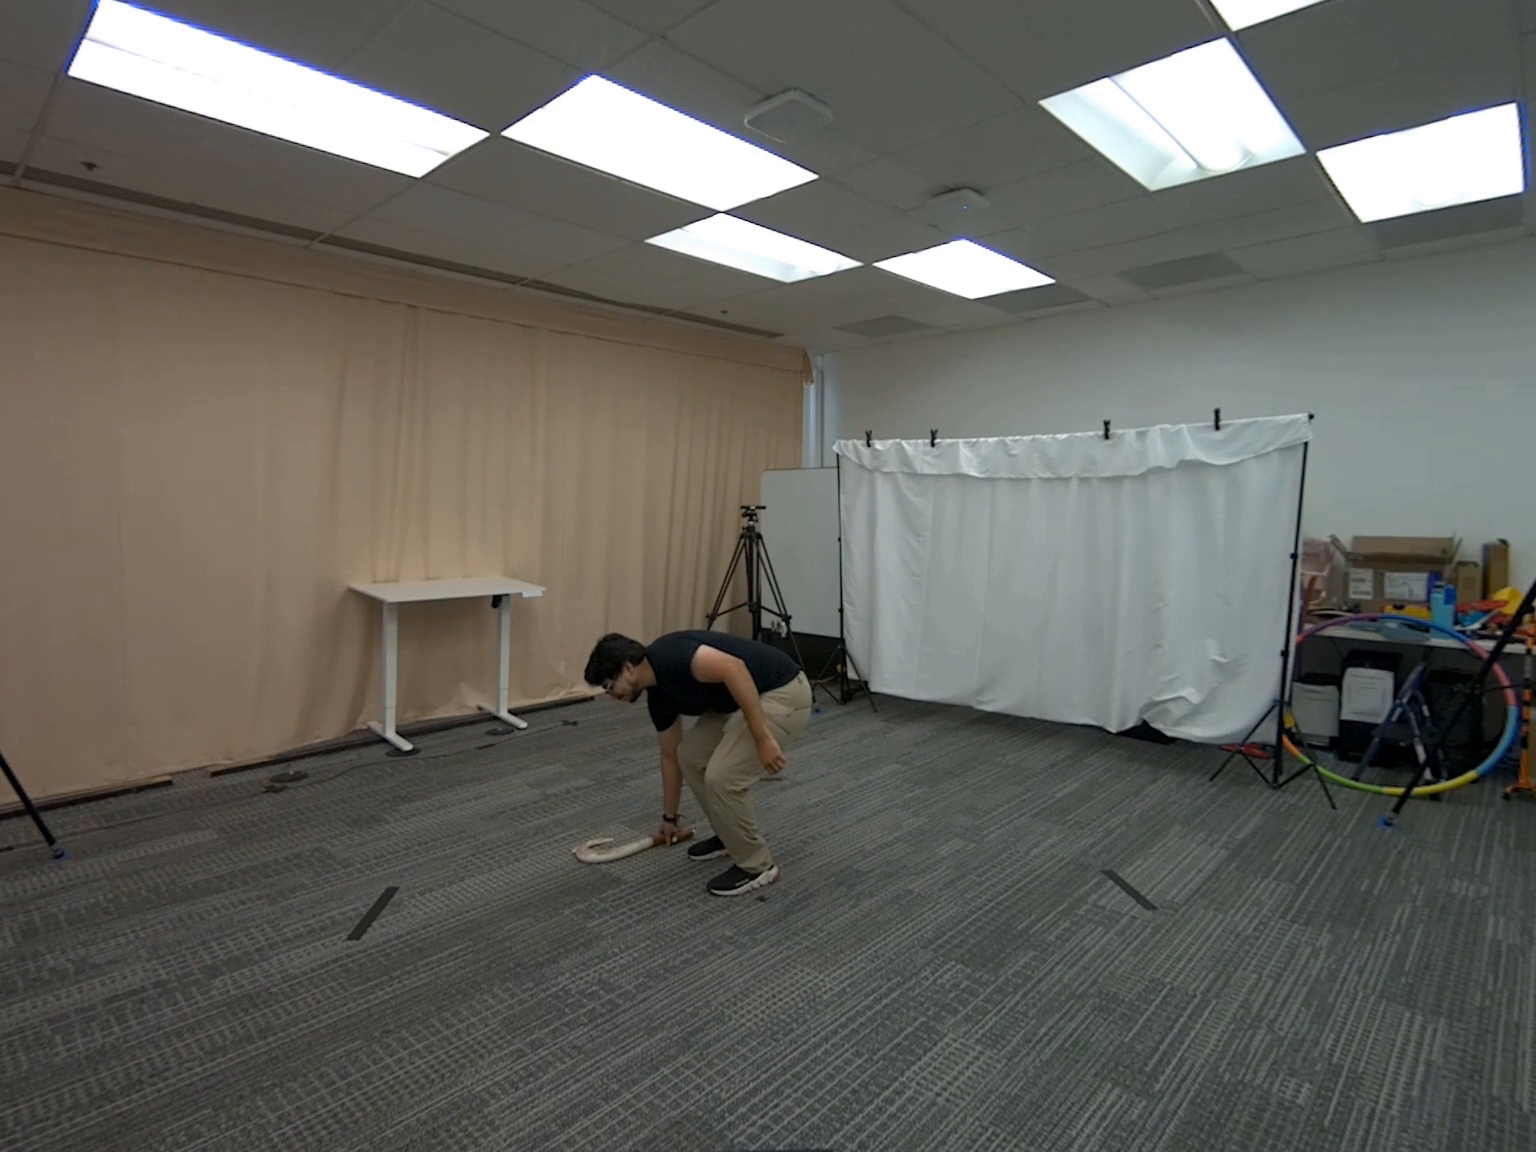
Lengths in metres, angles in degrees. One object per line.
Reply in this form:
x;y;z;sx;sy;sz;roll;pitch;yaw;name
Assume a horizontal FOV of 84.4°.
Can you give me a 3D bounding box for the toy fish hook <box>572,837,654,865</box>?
-0.550;1.086;3.456;0.493;0.048;0.231;-2;6;-28;toy fish hook
